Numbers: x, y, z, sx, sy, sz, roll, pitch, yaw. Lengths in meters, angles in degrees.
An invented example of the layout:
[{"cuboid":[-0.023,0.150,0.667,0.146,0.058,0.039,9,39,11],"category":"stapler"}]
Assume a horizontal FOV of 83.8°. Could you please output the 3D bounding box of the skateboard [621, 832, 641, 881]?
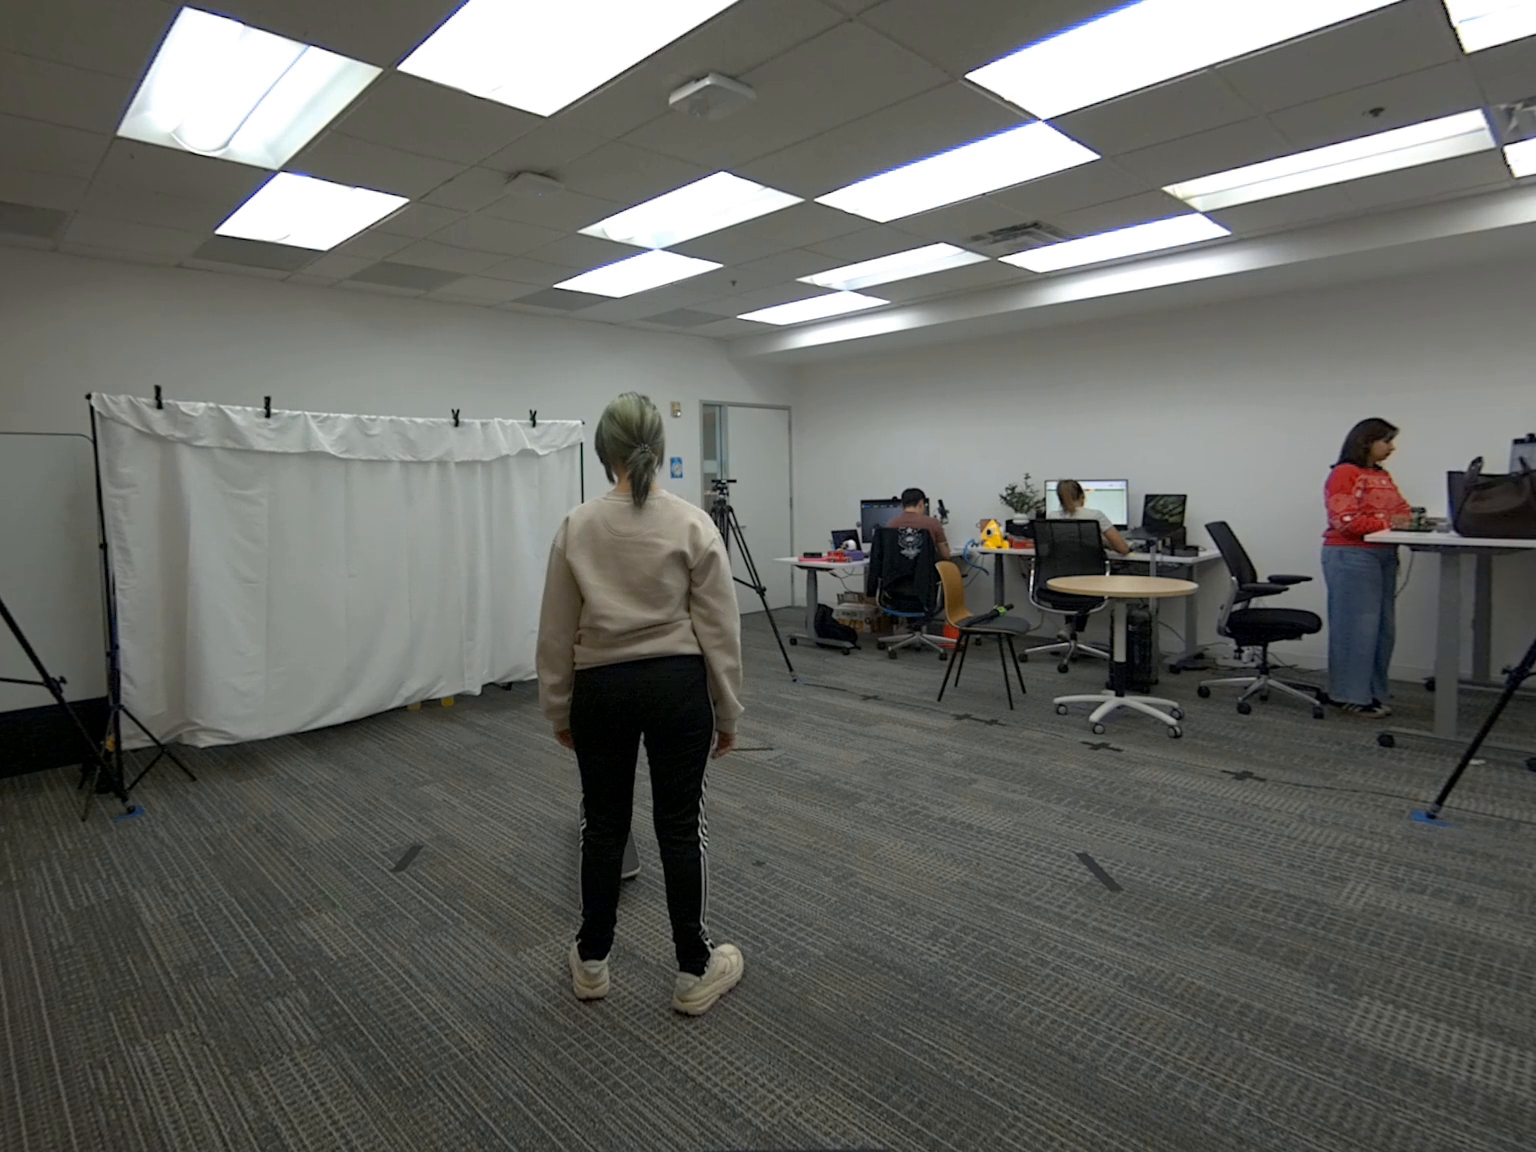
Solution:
[{"cuboid":[-0.601,0.995,3.188,0.191,0.110,0.798,-2,6,-14],"category":"skateboard"}]
